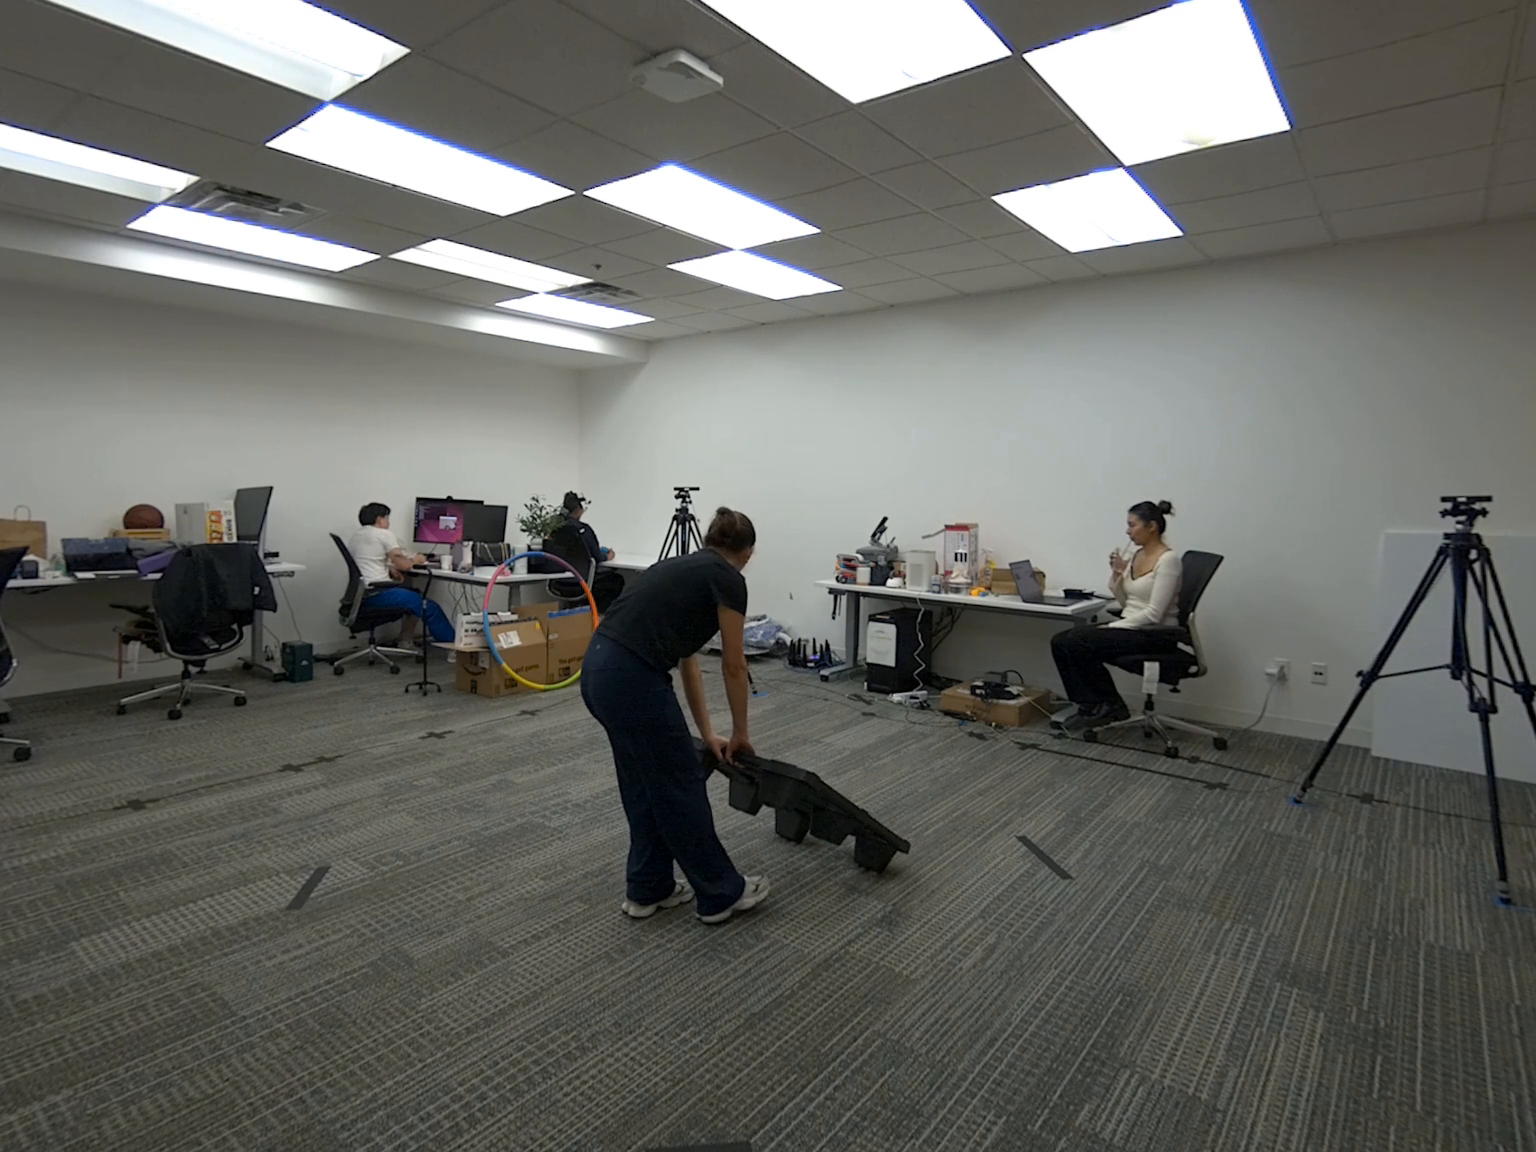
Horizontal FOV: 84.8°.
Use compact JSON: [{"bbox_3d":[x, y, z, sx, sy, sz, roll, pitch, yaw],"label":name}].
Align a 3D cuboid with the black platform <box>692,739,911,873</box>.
[{"bbox_3d":[0.083,0.819,3.055,0.625,0.144,0.772,4,-29,41],"label":"black platform"}]
